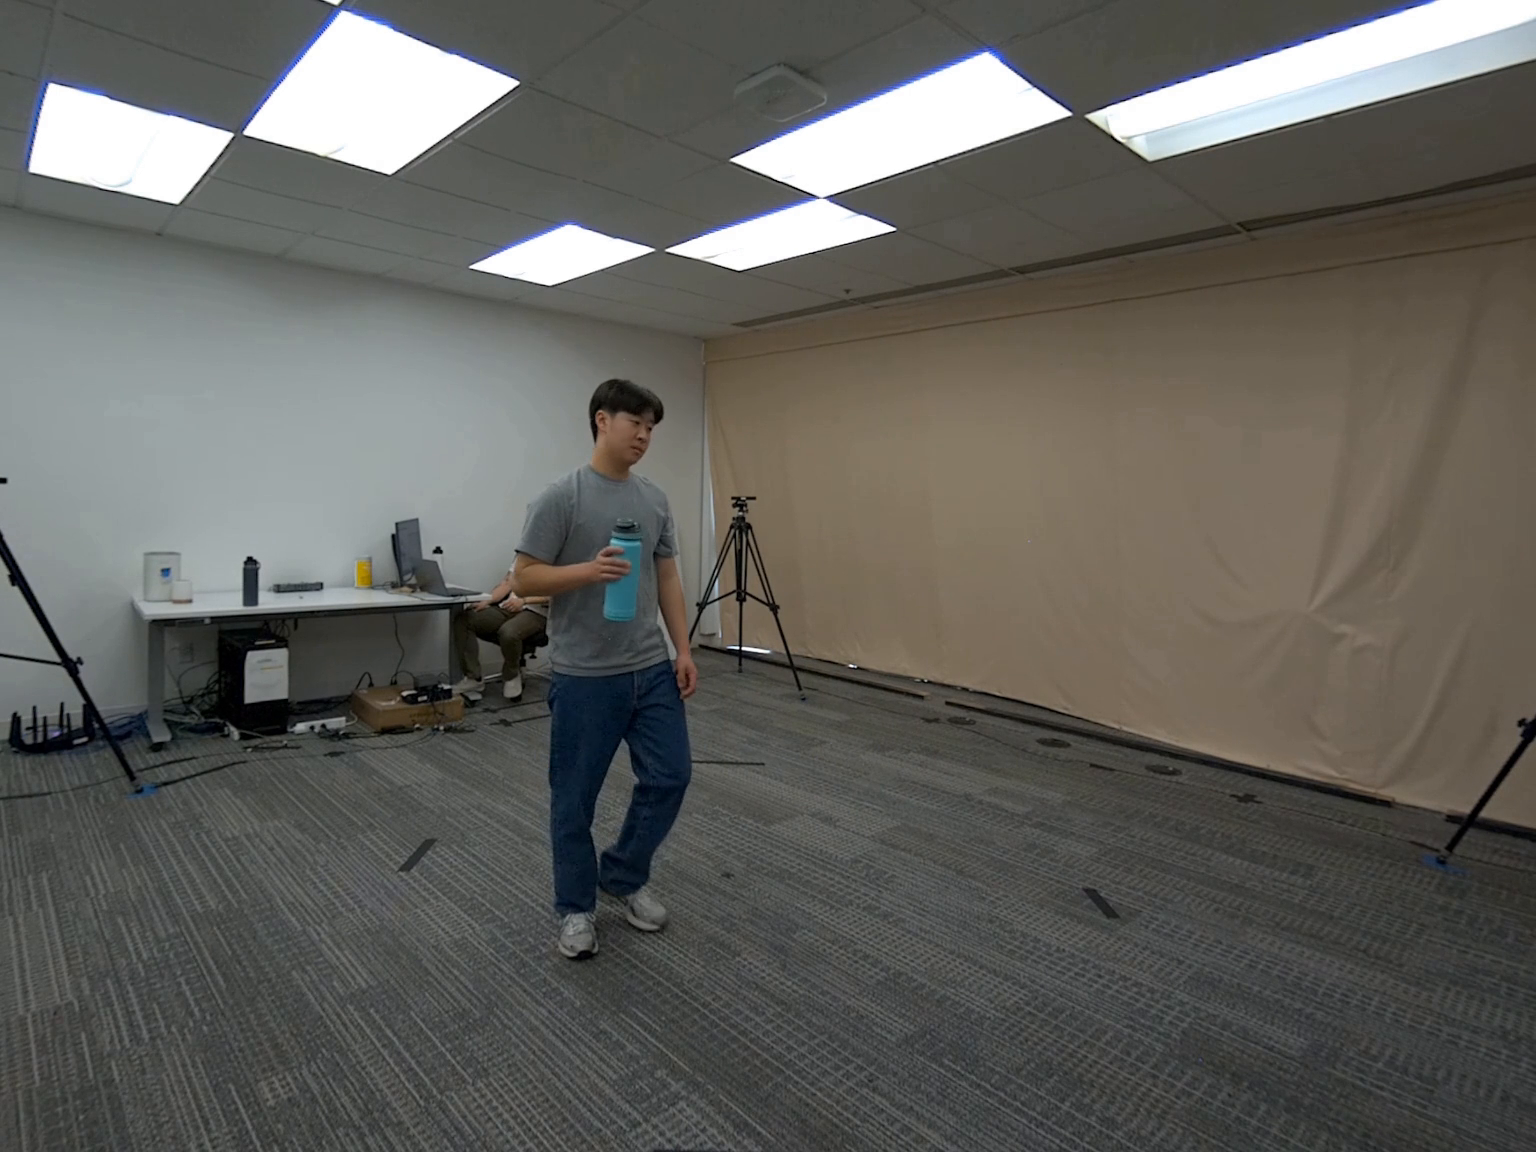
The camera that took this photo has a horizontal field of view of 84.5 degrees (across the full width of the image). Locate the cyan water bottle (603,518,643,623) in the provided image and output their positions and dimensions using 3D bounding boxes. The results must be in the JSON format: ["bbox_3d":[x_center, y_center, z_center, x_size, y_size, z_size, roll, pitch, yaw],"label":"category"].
[{"bbox_3d":[-0.430,-0.021,2.373,0.092,0.282,0.093,8,8,-3],"label":"cyan water bottle"}]
